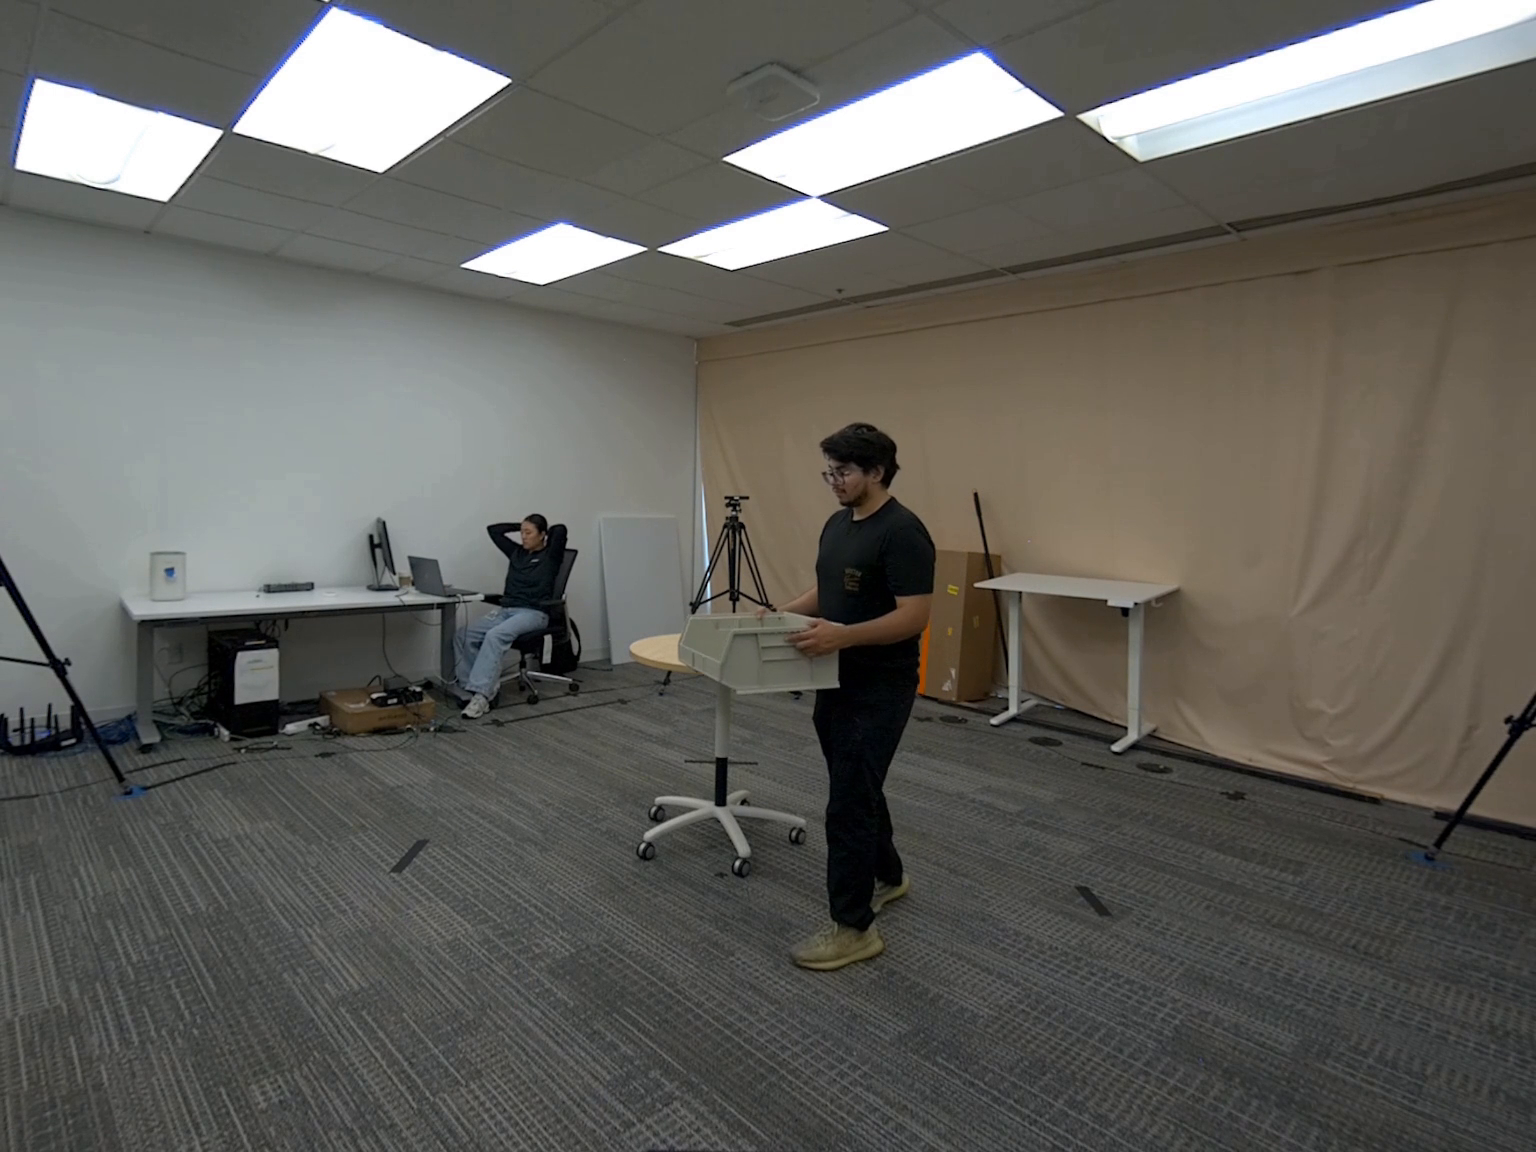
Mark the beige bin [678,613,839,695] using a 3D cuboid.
[{"bbox_3d":[-0.037,0.222,2.525,0.371,0.189,0.429,0,2,-21],"label":"beige bin"}]
